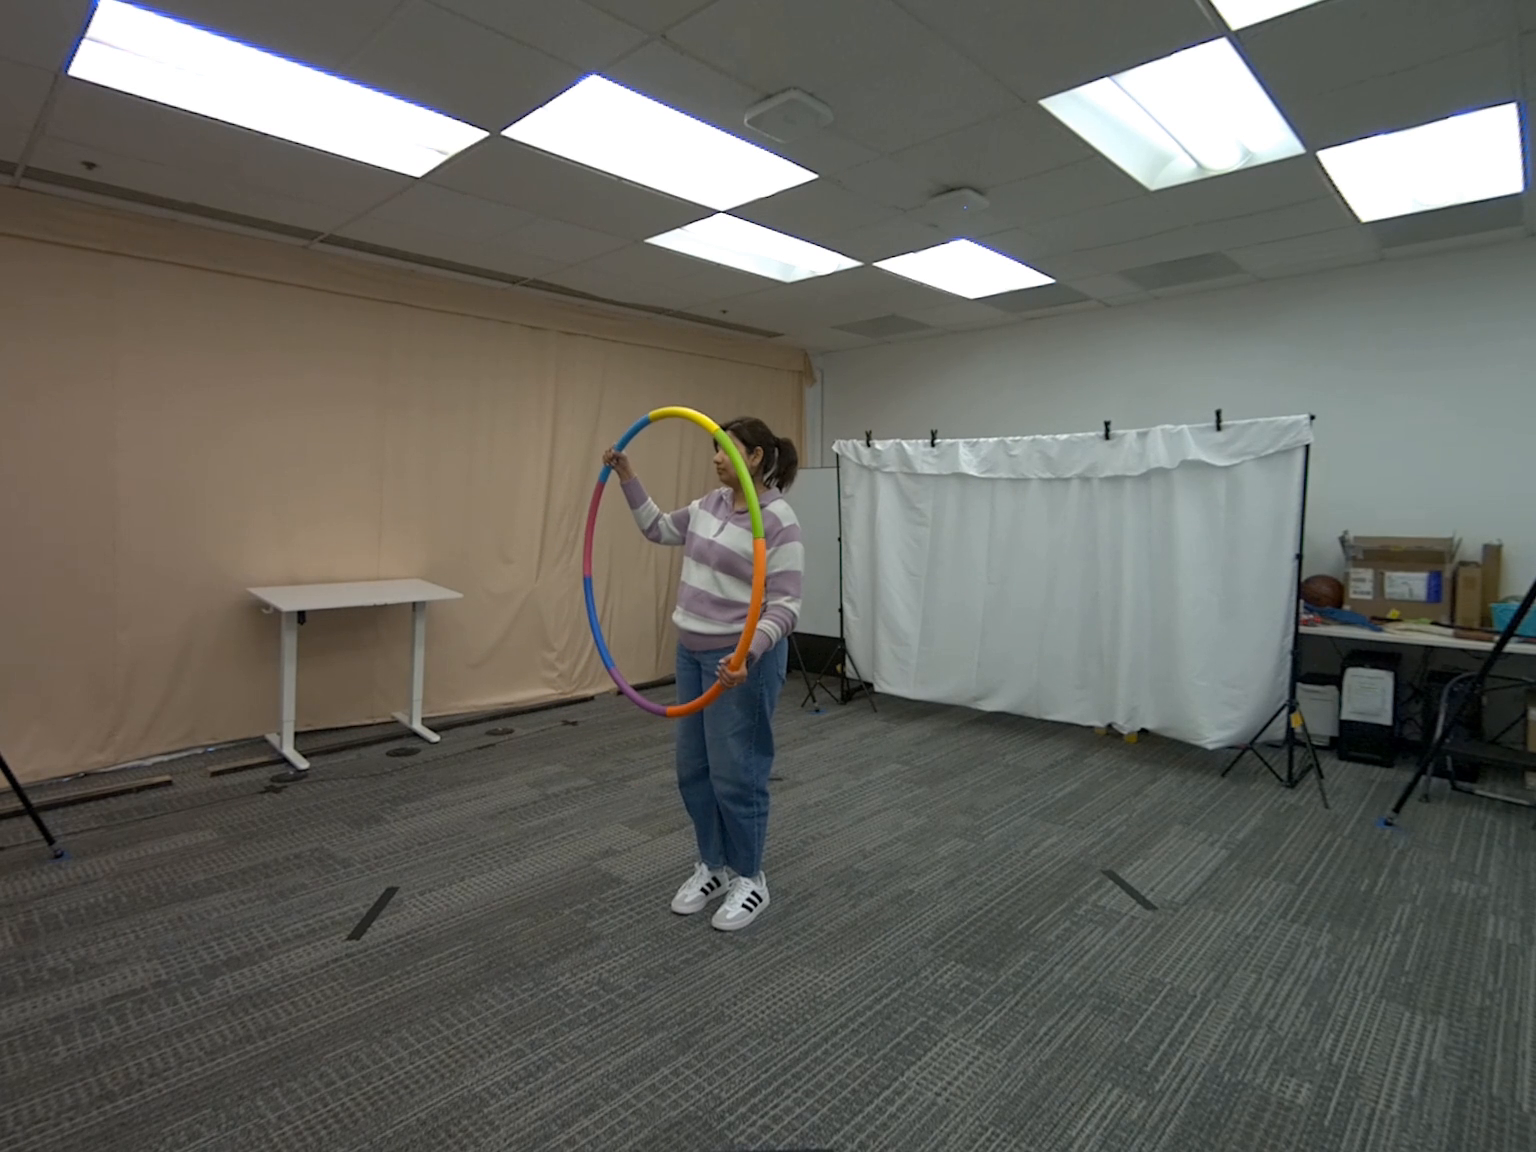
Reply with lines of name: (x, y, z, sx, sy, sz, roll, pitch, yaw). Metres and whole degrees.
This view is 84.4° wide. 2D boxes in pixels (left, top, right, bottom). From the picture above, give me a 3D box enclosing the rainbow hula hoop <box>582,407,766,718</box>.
rainbow hula hoop: (-0.338, -0.053, 2.709, 0.034, 0.978, 1.011, 4, 0, -40)
